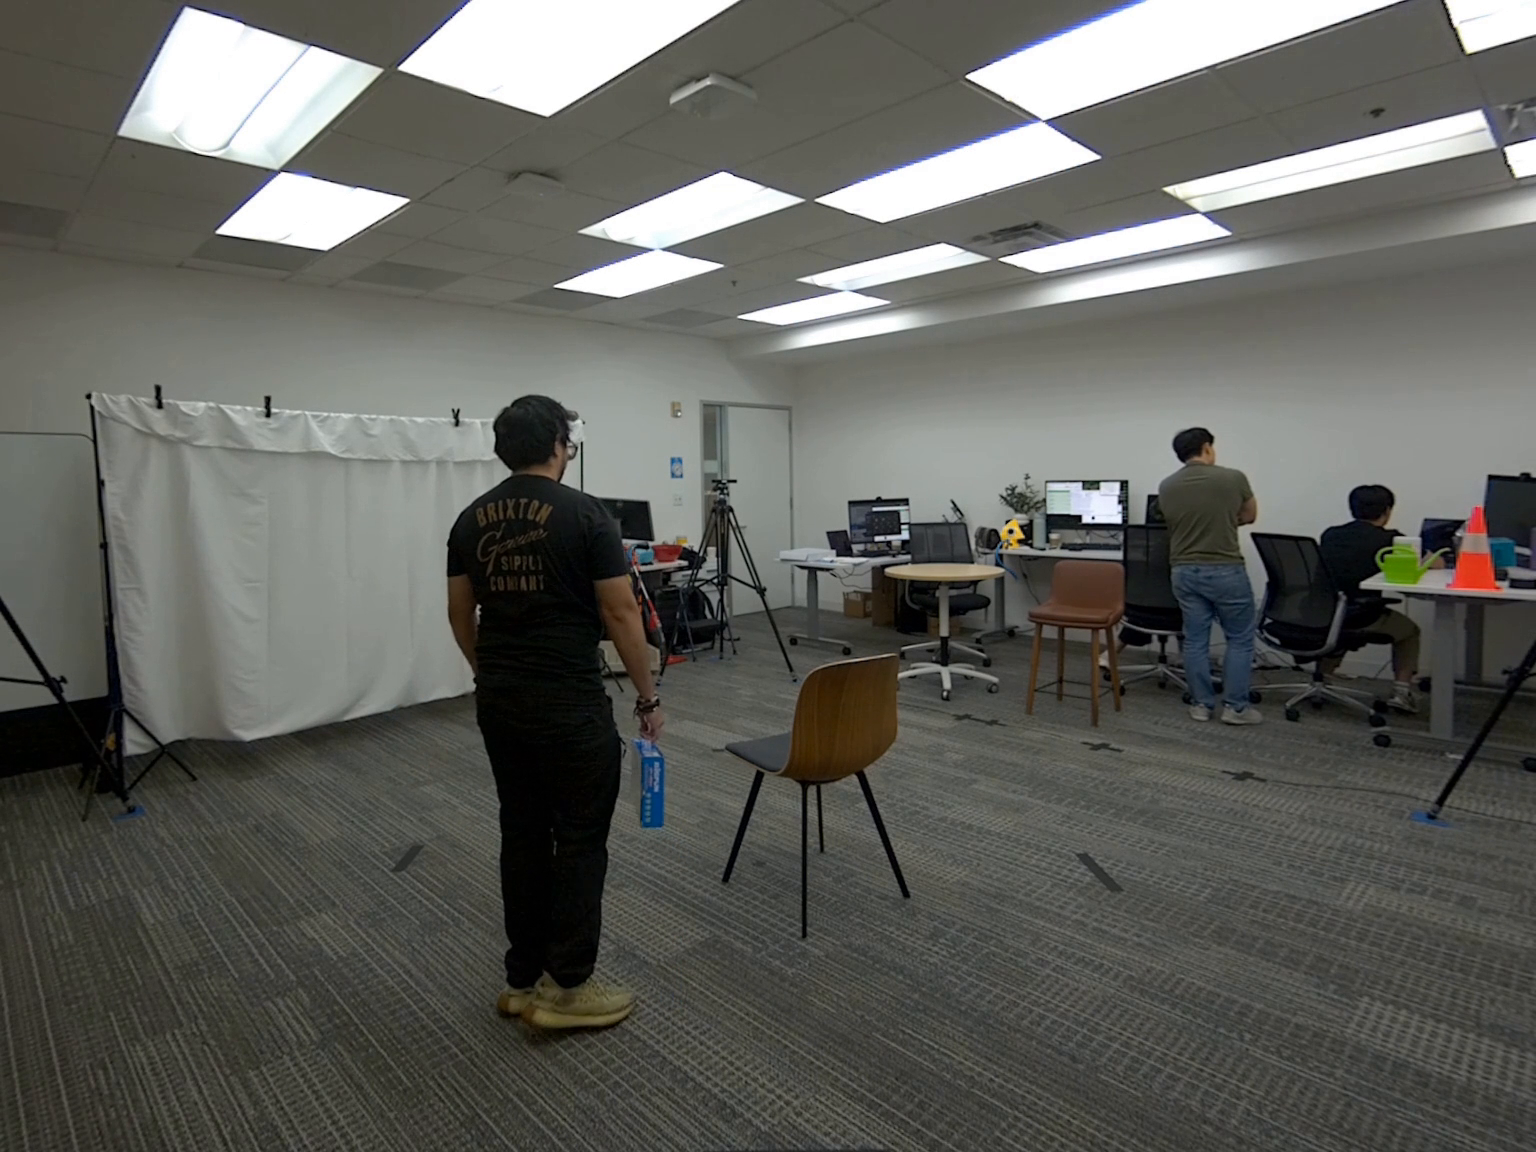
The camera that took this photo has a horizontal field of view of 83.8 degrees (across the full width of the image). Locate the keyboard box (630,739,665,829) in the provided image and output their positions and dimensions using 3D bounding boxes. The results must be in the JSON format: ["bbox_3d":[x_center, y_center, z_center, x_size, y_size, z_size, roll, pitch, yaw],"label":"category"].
[{"bbox_3d":[-0.332,0.555,2.343,0.058,0.177,0.439,1,-5,-12],"label":"keyboard box"}]
